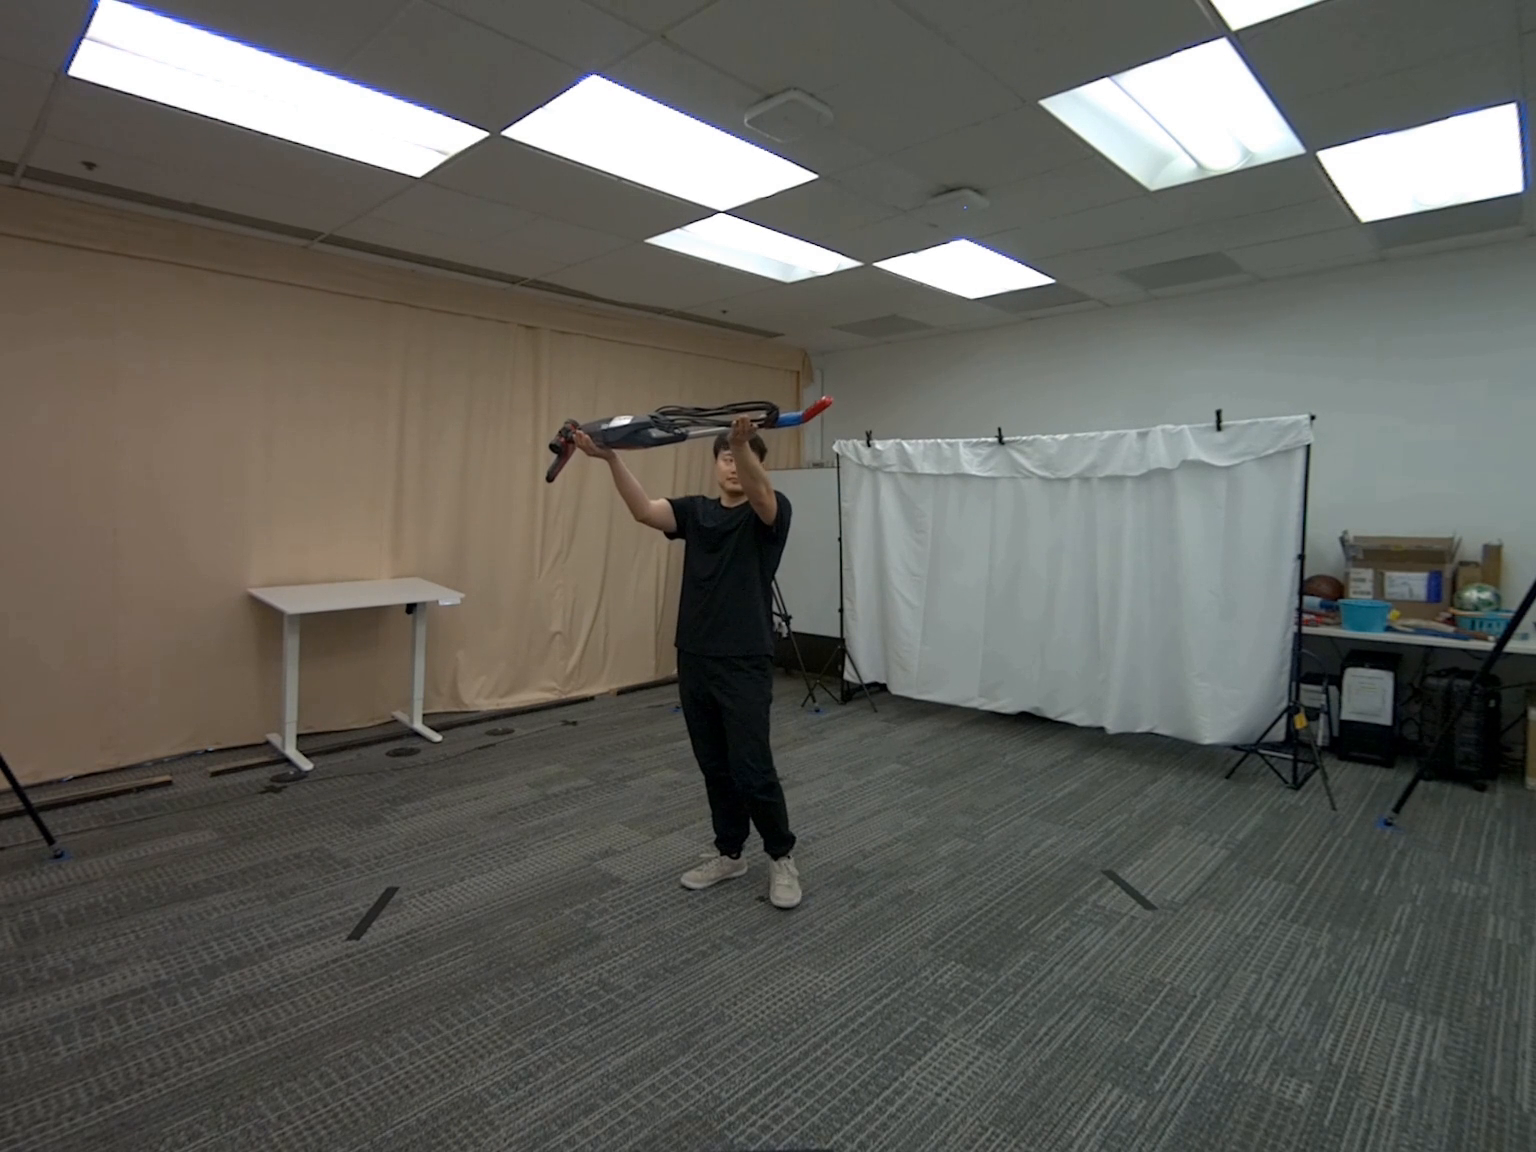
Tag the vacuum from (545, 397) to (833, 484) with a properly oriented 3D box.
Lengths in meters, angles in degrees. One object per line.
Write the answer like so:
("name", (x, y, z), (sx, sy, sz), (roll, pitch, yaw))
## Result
("vacuum", (-0.273, -0.475, 2.638), (1.080, 0.140, 0.253), (-4, 42, 34))
